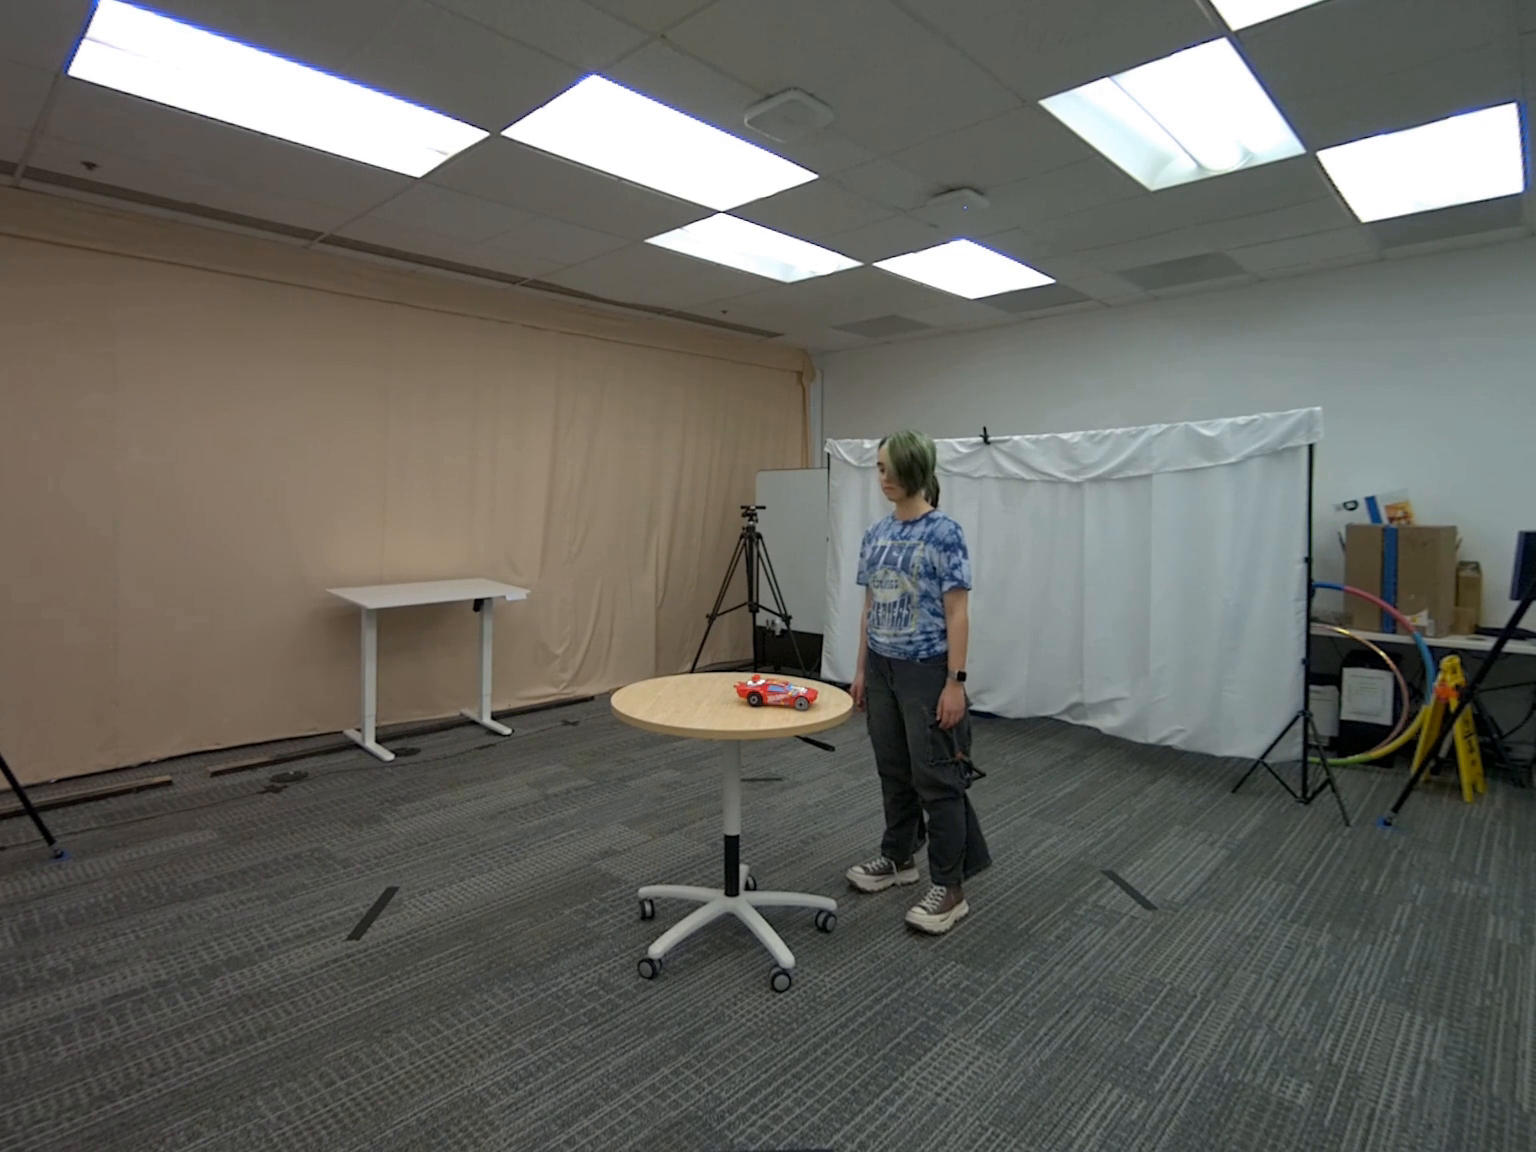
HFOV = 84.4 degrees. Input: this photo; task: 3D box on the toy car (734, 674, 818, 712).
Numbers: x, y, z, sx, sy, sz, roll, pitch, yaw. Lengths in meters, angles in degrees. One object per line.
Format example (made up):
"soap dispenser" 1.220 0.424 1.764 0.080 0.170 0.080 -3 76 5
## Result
"toy car" 0.027 0.364 2.581 0.259 0.083 0.128 13 8 15
